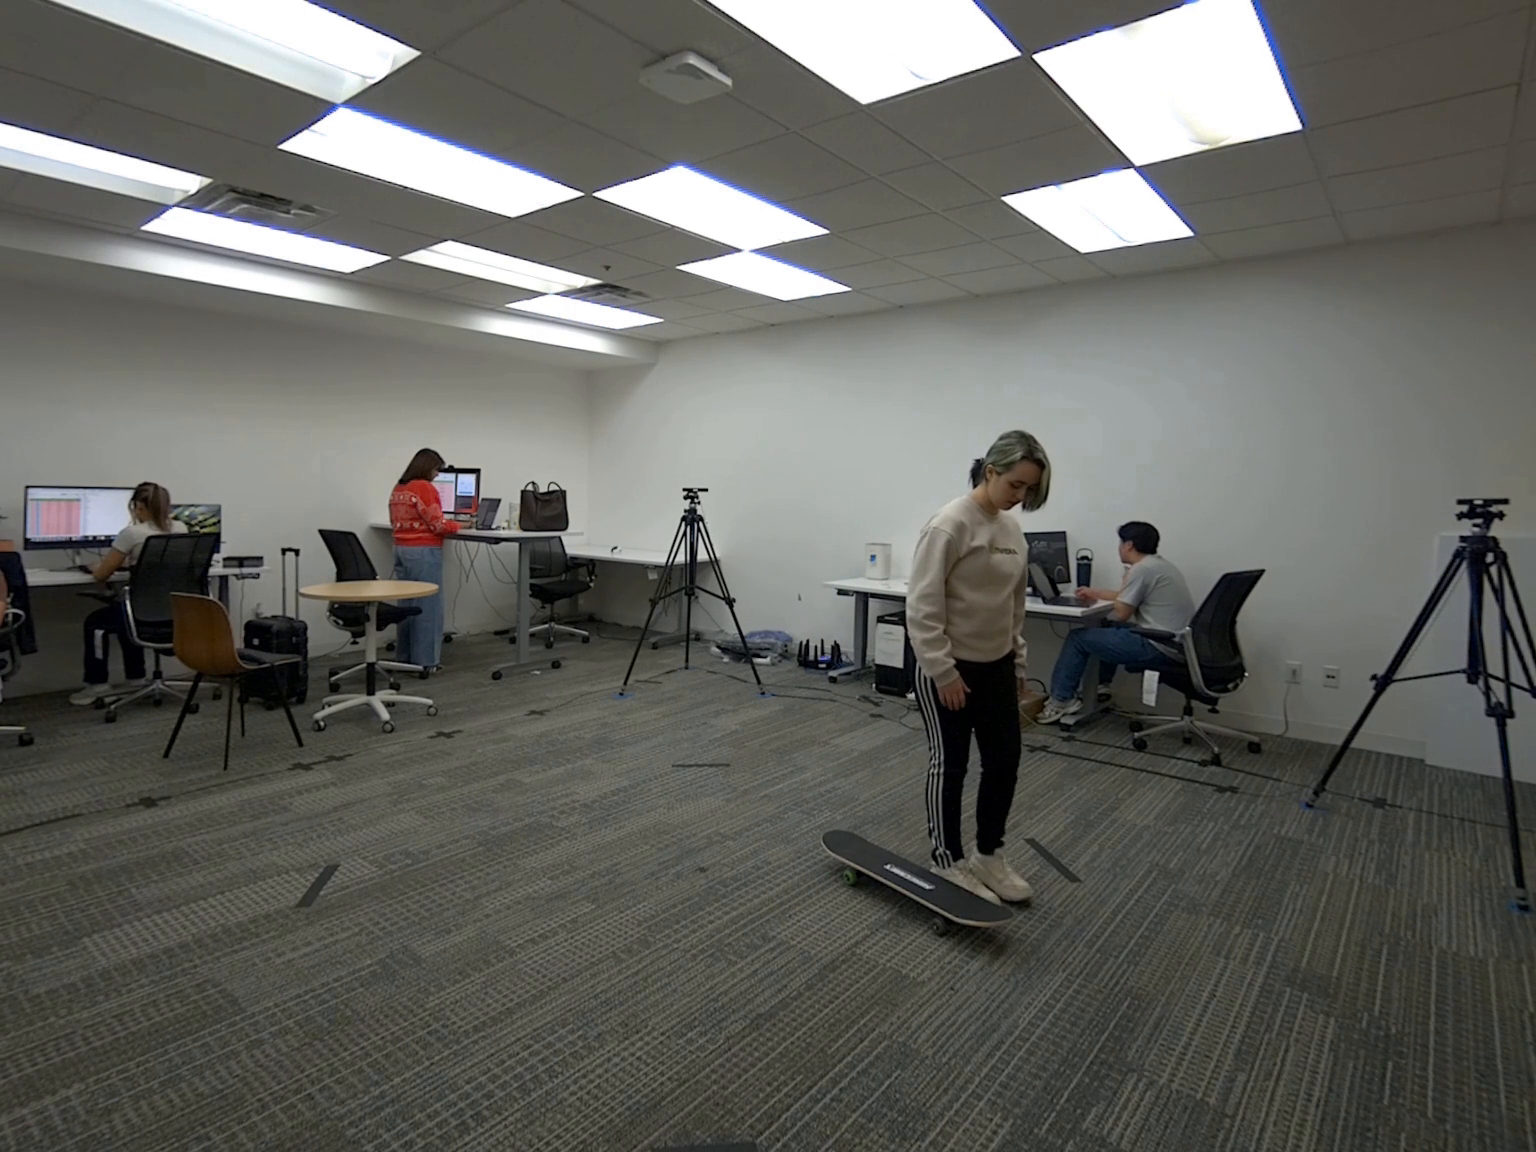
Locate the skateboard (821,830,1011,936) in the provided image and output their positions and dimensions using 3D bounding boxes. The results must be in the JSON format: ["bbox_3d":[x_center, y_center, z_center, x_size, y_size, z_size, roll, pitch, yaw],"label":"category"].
[{"bbox_3d":[0.469,1.045,2.898,0.188,0.110,0.812,-2,6,-38],"label":"skateboard"}]
